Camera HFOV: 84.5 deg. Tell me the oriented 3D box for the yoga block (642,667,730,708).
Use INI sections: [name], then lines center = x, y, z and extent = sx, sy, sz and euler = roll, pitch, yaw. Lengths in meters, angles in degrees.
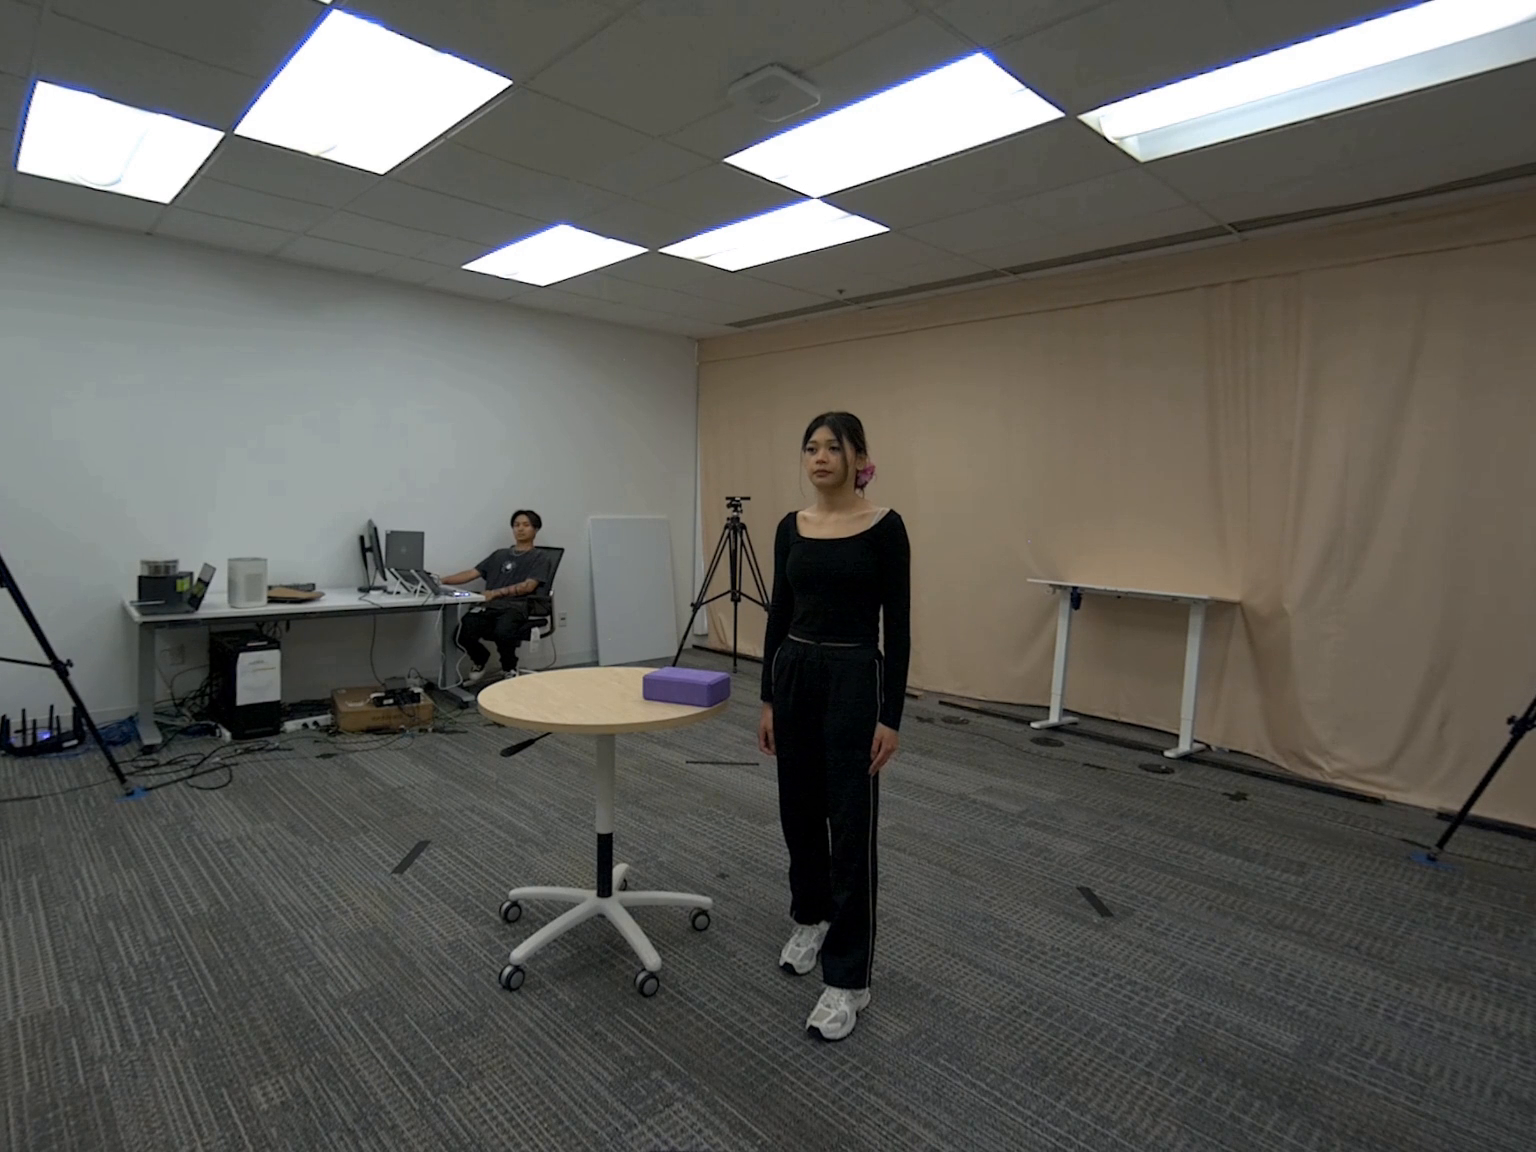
[yoga block]
center = -0.254, 0.335, 2.512
extent = 0.234, 0.076, 0.146
euler = 3, 6, 26
